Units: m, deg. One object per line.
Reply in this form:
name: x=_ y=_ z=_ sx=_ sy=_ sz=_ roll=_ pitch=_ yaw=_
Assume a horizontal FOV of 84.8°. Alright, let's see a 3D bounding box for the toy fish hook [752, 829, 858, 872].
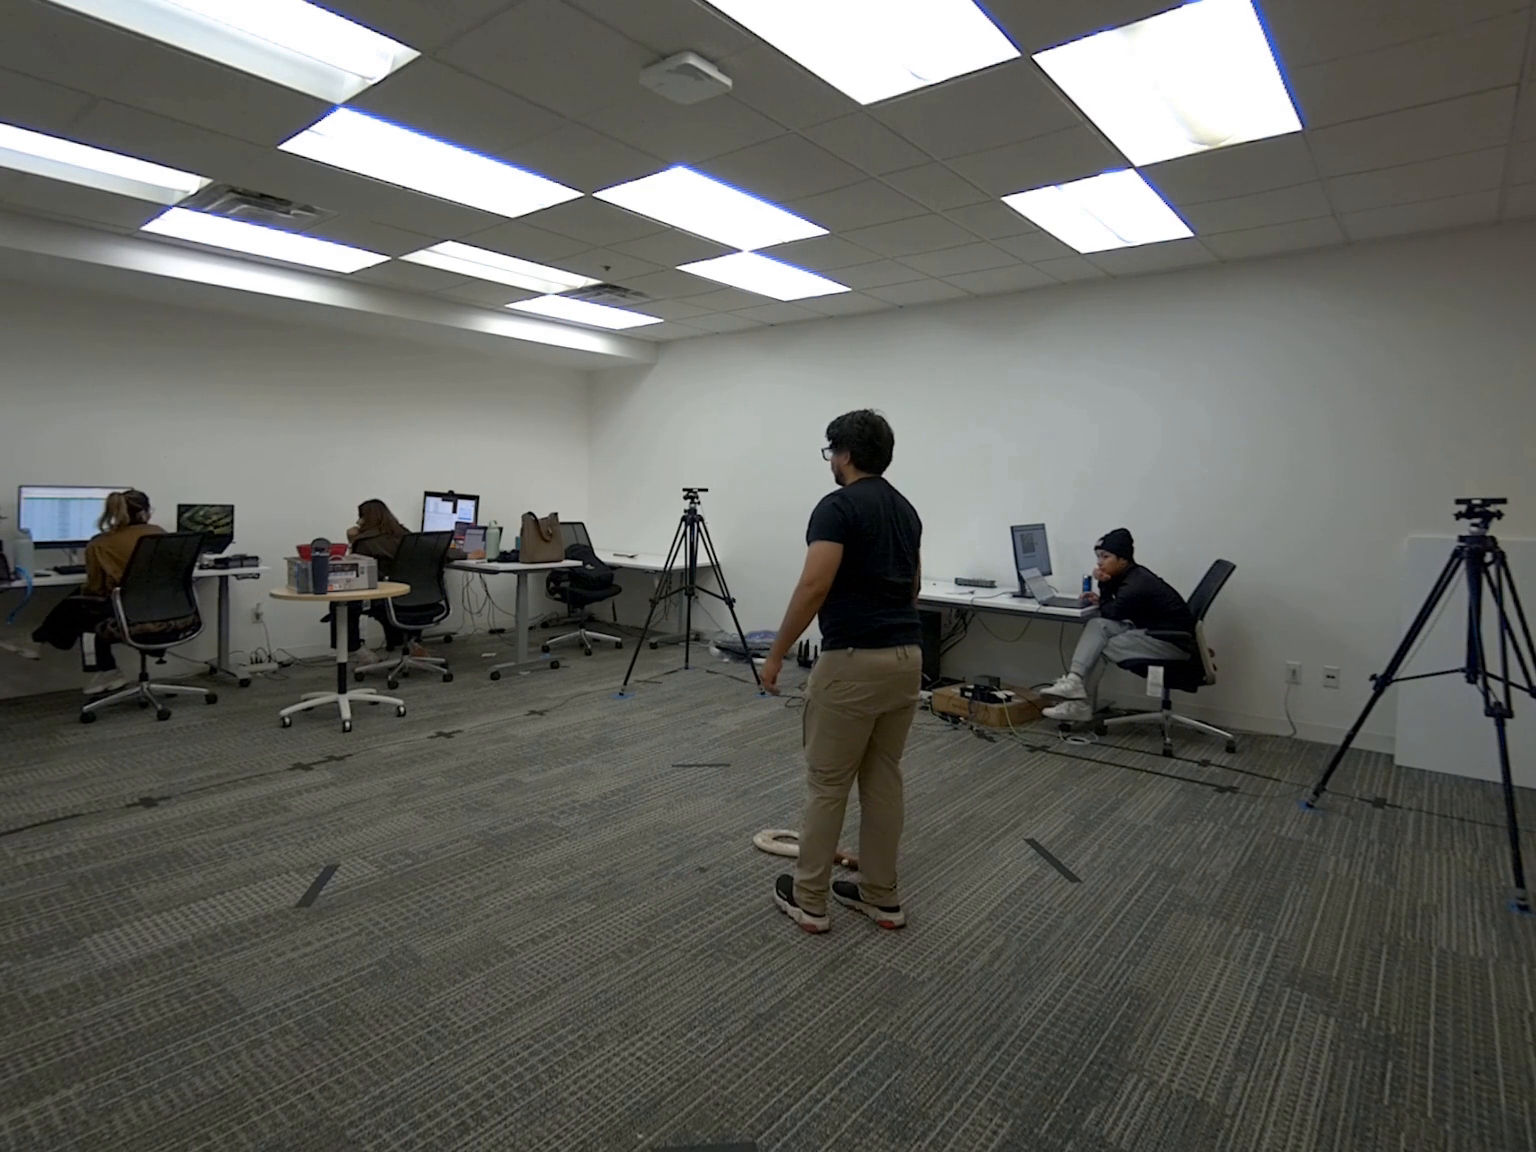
toy fish hook: x=0.181 y=1.042 z=3.272 sx=0.521 sy=0.048 sz=0.220 roll=4 pitch=8 yaw=27
